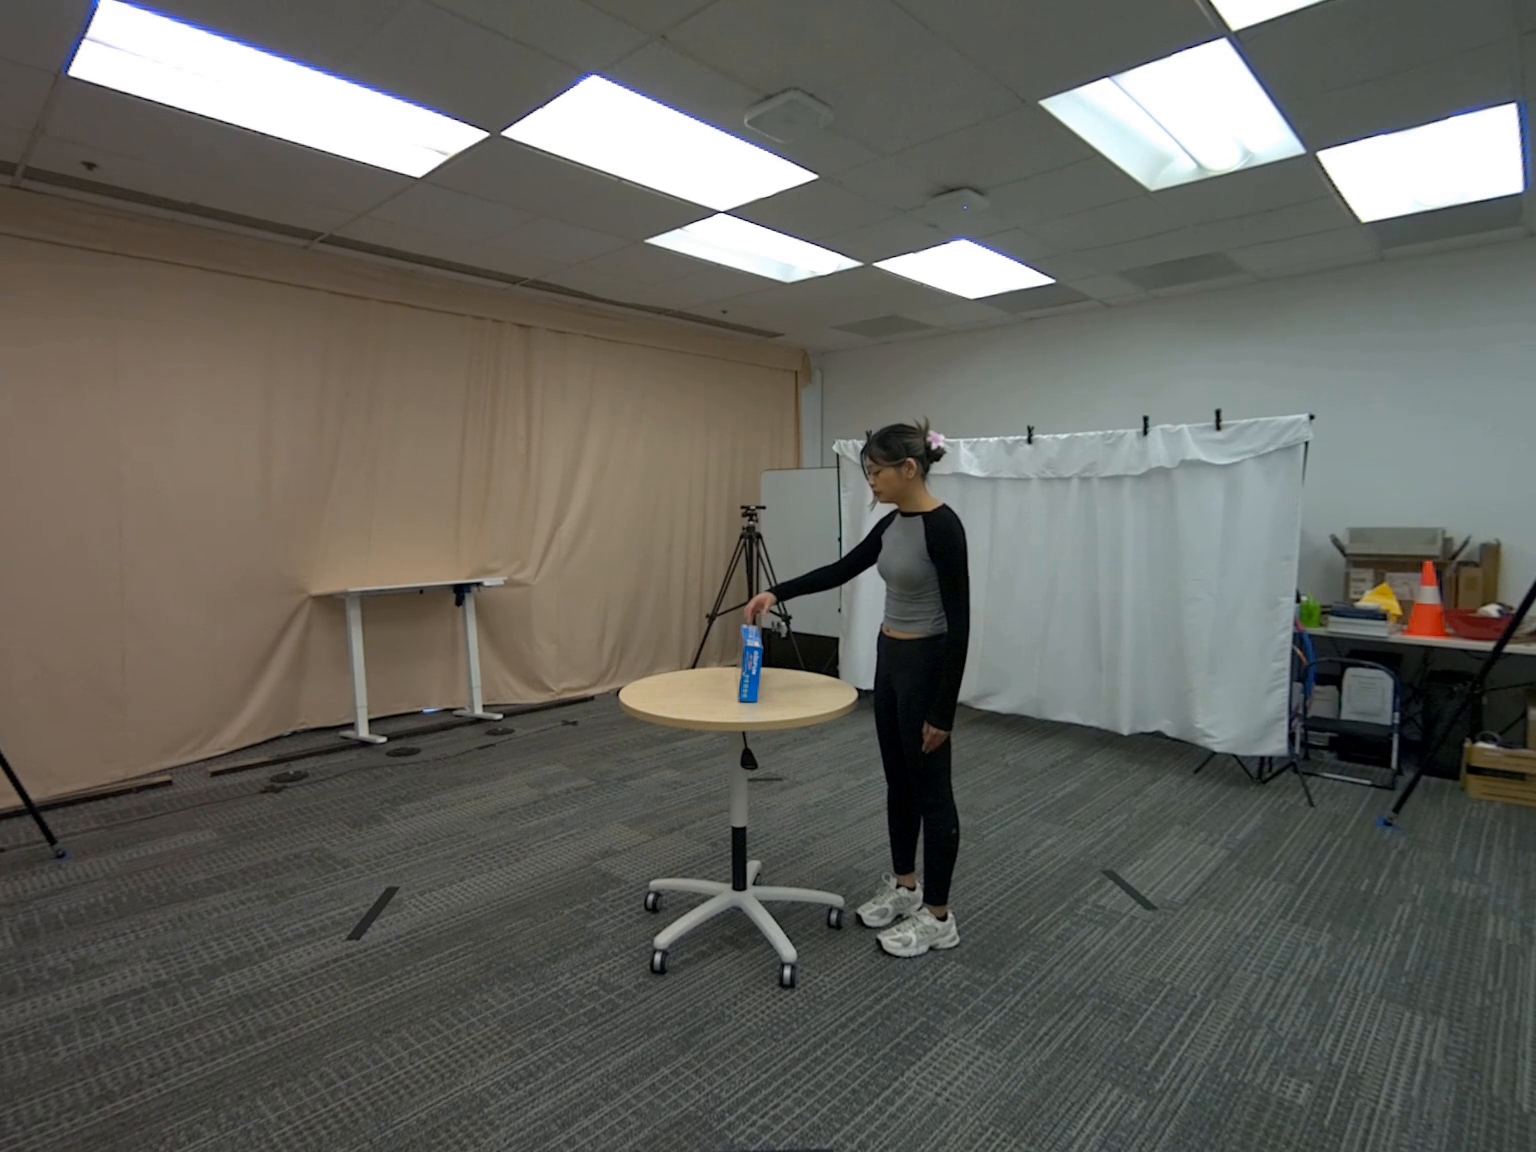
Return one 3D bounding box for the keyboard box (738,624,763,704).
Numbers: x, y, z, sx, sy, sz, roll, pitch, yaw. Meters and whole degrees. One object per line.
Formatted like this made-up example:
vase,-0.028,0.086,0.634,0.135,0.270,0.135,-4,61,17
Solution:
keyboard box,-0.054,0.274,2.769,0.059,0.175,0.439,3,4,-6
